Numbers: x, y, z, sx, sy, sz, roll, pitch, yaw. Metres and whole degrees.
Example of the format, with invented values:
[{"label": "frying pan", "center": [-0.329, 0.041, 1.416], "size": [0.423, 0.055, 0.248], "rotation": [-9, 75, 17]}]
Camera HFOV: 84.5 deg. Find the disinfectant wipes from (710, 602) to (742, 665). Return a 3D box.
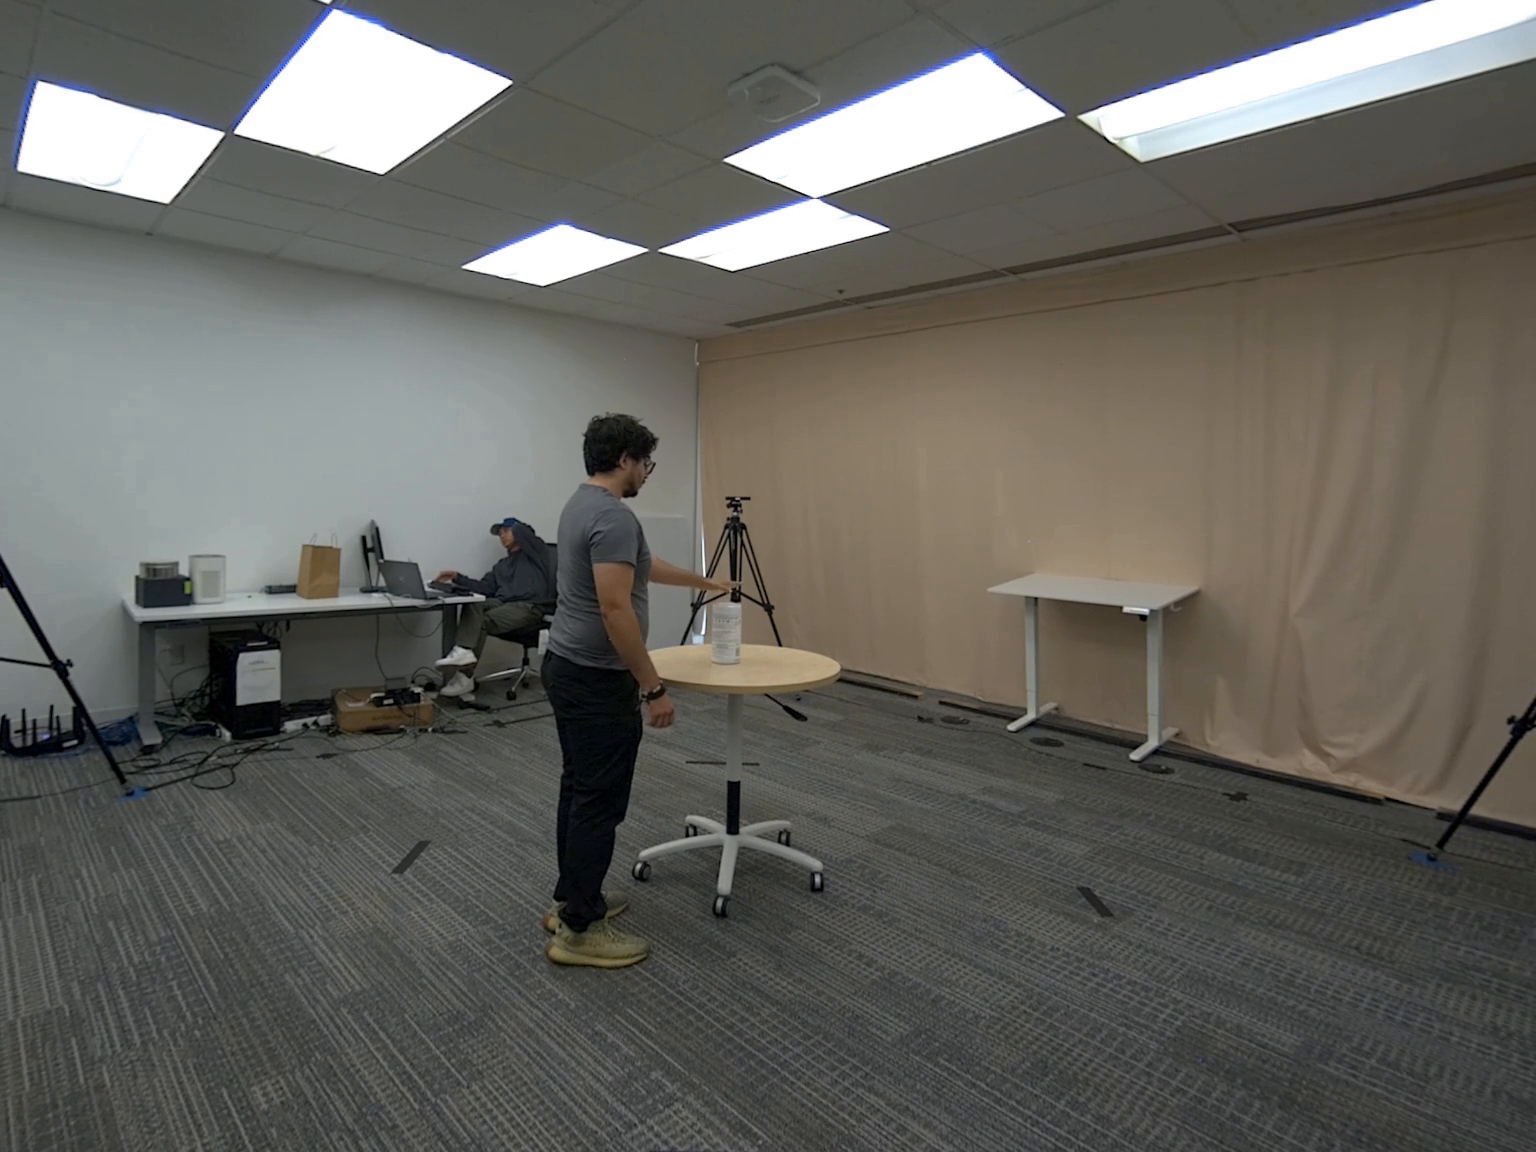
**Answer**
[{"label": "disinfectant wipes", "center": [-0.156, 0.211, 3.114], "size": [0.118, 0.216, 0.118], "rotation": [1, 5, -1]}]
